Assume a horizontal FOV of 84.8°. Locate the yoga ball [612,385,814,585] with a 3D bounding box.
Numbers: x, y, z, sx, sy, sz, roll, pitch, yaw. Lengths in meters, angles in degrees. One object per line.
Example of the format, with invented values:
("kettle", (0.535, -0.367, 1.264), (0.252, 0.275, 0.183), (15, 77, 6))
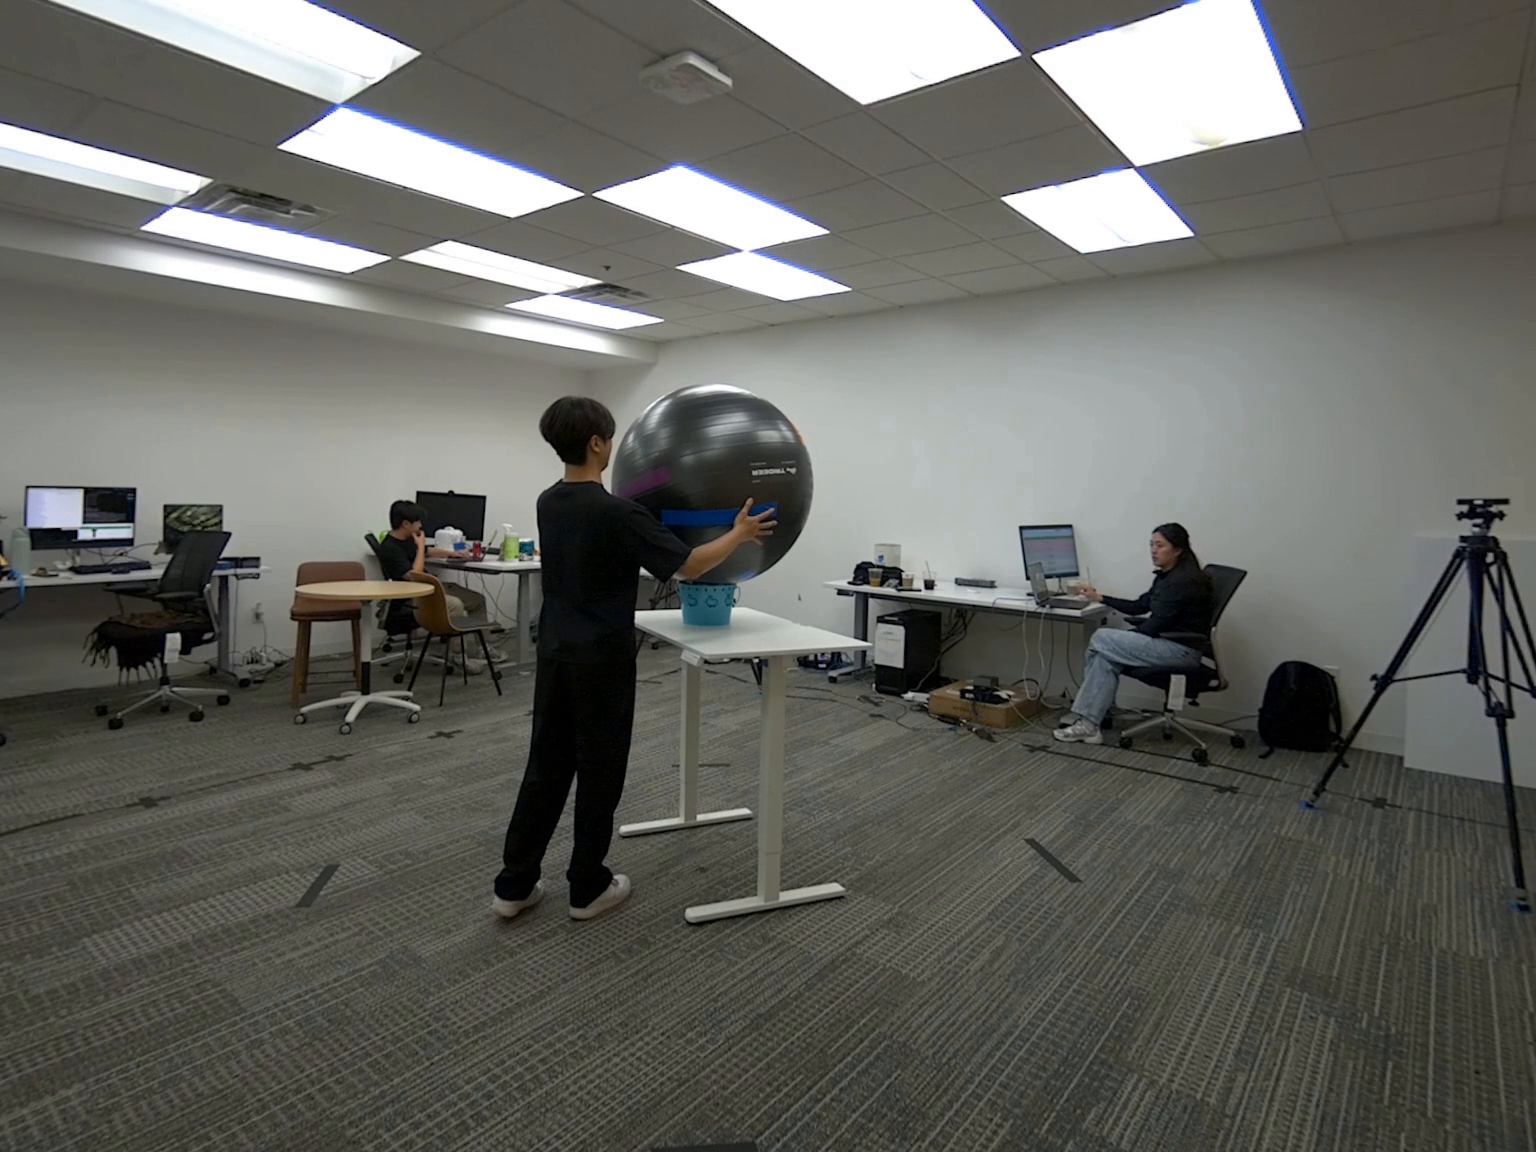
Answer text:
("yoga ball", (-0.221, -0.343, 3.222), (0.757, 0.756, 0.762), (1, 4, -2))
